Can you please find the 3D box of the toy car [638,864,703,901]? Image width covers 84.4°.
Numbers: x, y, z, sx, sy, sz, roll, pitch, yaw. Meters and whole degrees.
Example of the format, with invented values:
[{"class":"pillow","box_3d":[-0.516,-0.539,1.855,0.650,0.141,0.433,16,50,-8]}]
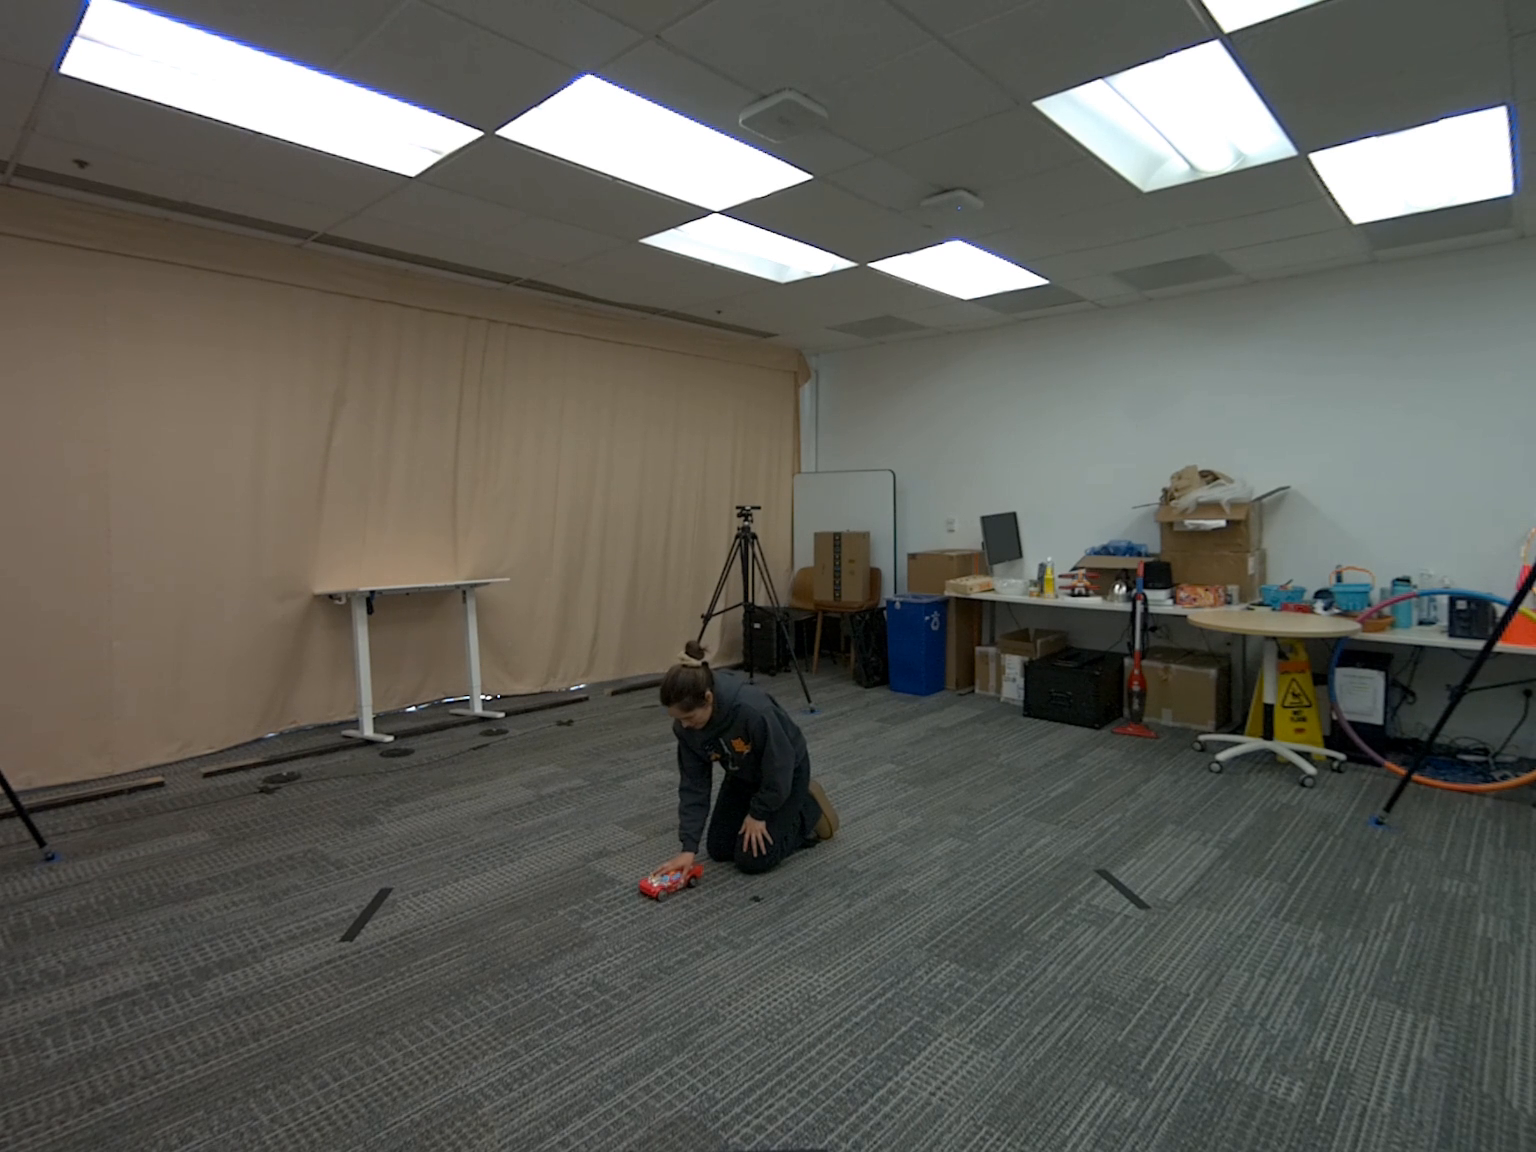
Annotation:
[{"class":"toy car","box_3d":[-0.326,1.107,3.075,0.134,0.082,0.248,3,17,45]}]
